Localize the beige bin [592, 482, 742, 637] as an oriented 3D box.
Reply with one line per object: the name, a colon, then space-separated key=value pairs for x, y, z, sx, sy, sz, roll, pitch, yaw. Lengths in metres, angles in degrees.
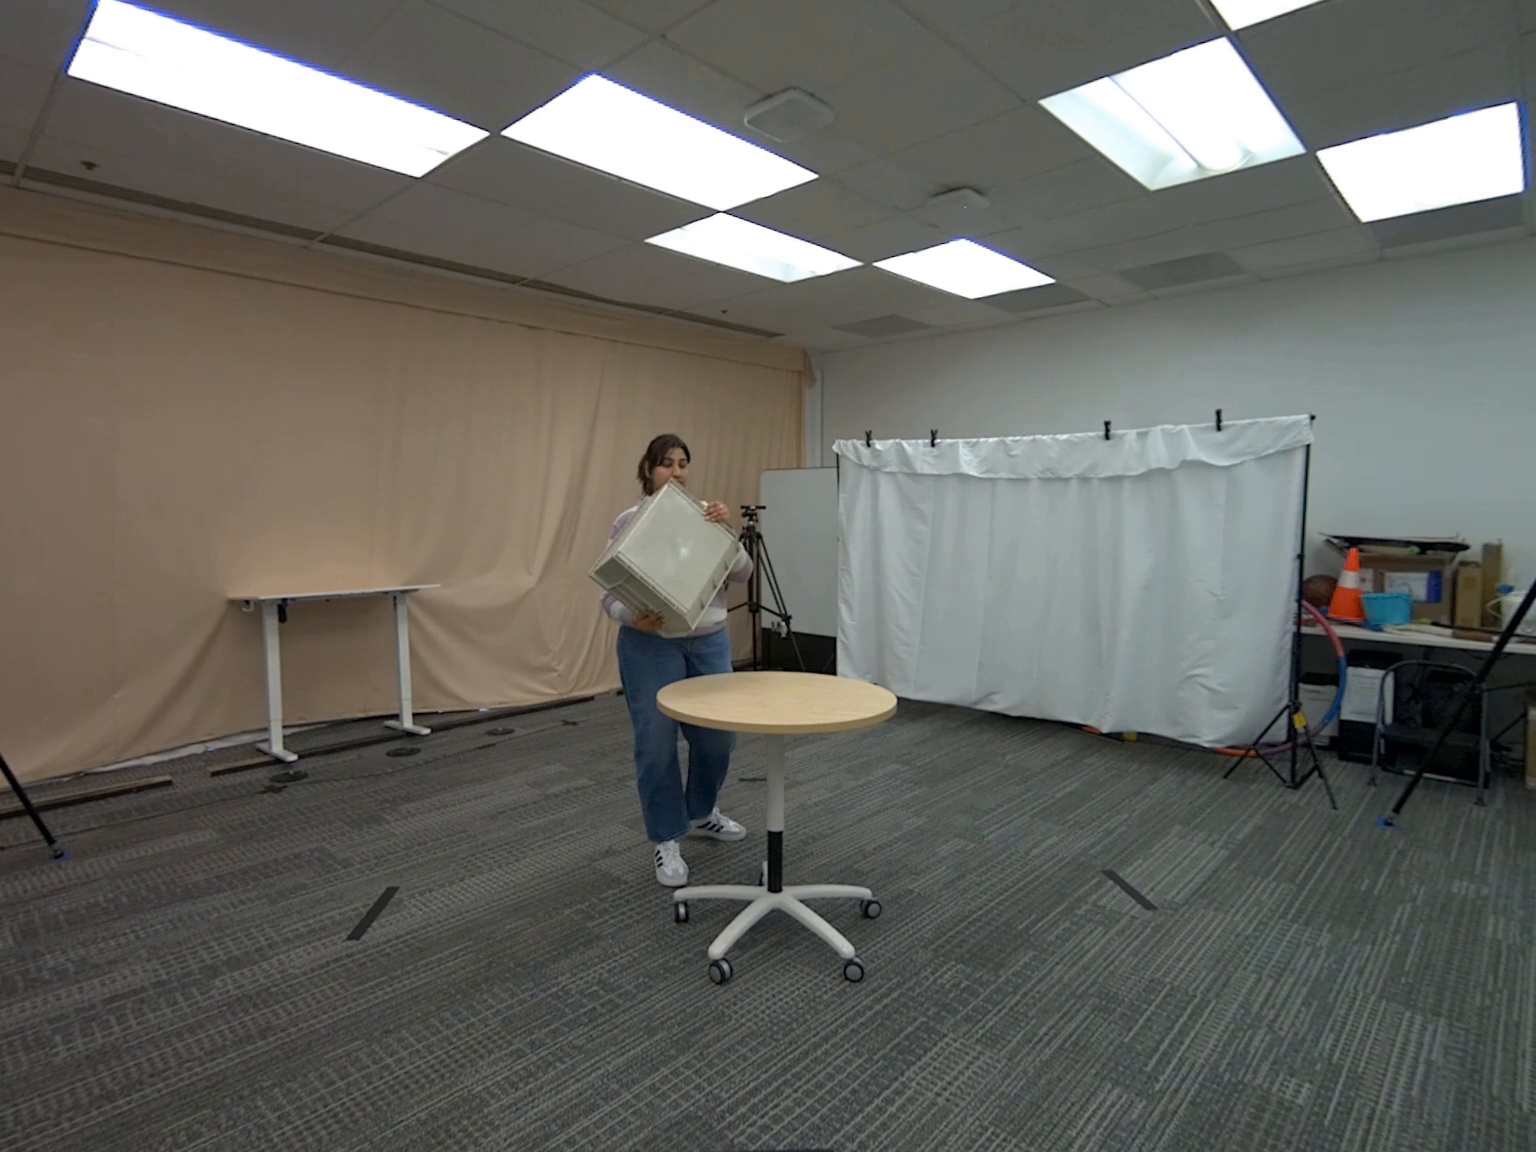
beige bin: x=-0.327 y=-0.055 z=2.915 sx=0.192 sy=0.372 sz=0.422 roll=-33 pitch=20 yaw=49
